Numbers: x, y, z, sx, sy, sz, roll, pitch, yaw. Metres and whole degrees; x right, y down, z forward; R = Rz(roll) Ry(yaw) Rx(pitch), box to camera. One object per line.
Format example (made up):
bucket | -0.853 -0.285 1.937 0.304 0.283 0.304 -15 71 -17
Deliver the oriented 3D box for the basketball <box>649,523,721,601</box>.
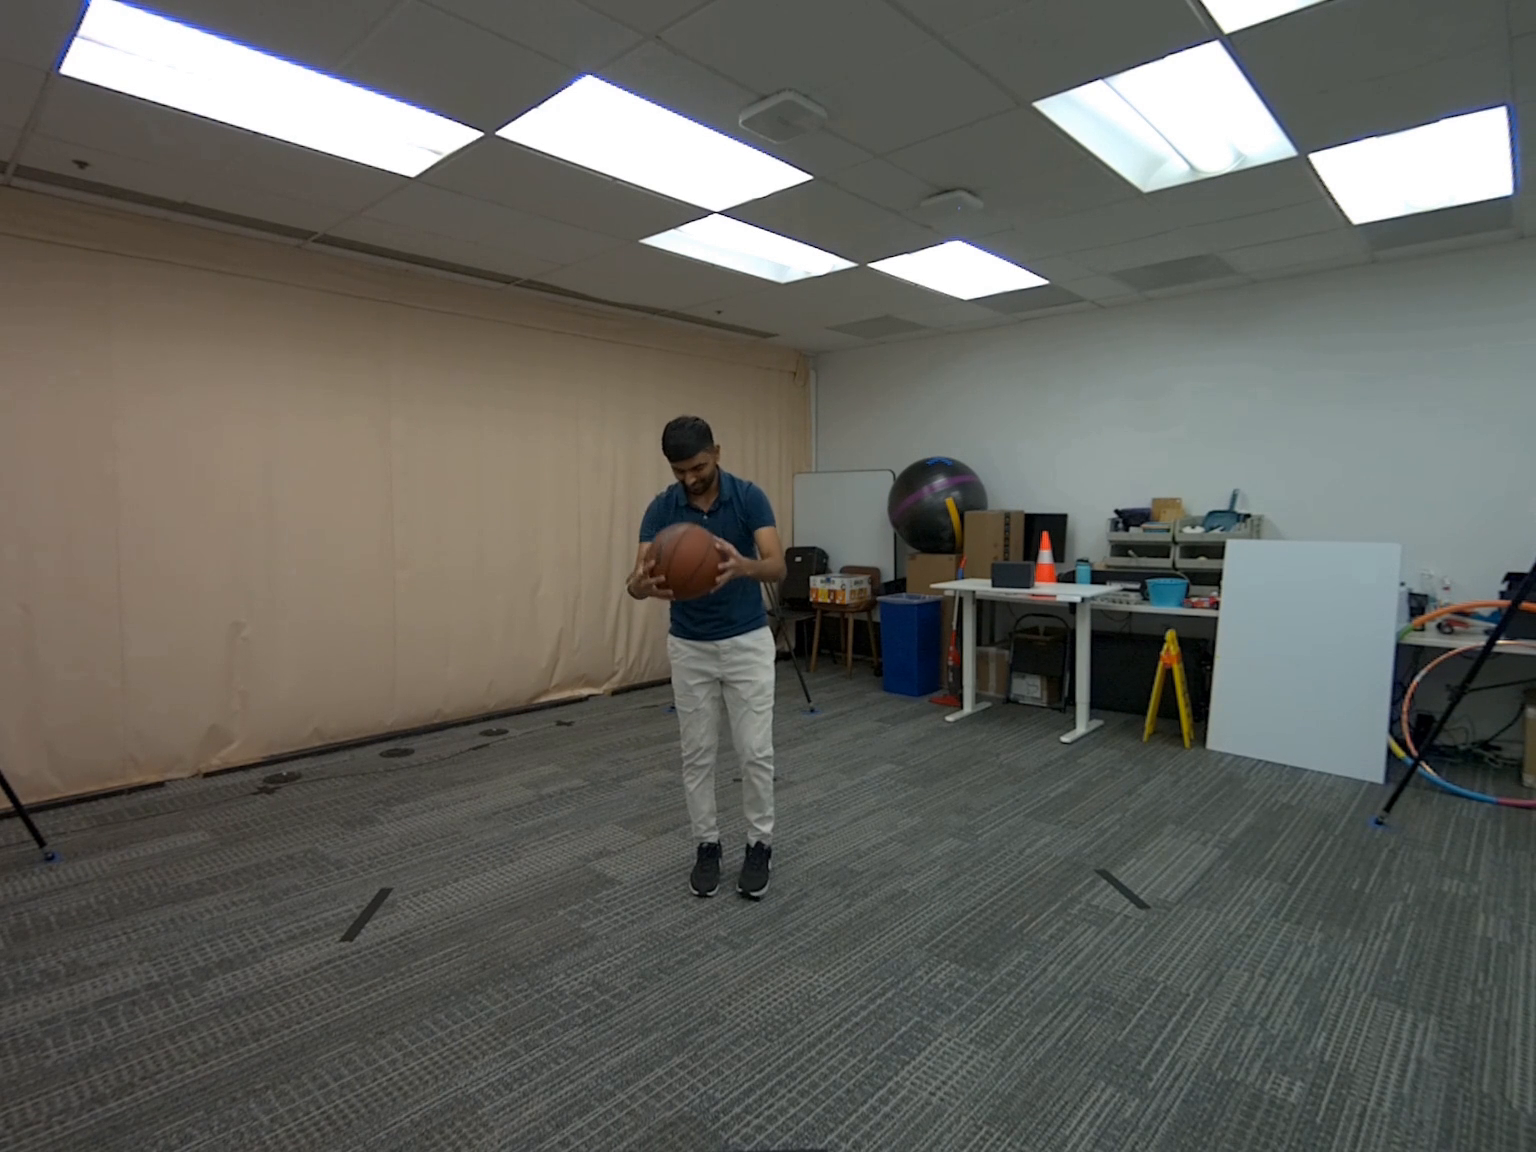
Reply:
basketball | -0.268 -0.025 2.621 0.236 0.235 0.237 0 4 -2
